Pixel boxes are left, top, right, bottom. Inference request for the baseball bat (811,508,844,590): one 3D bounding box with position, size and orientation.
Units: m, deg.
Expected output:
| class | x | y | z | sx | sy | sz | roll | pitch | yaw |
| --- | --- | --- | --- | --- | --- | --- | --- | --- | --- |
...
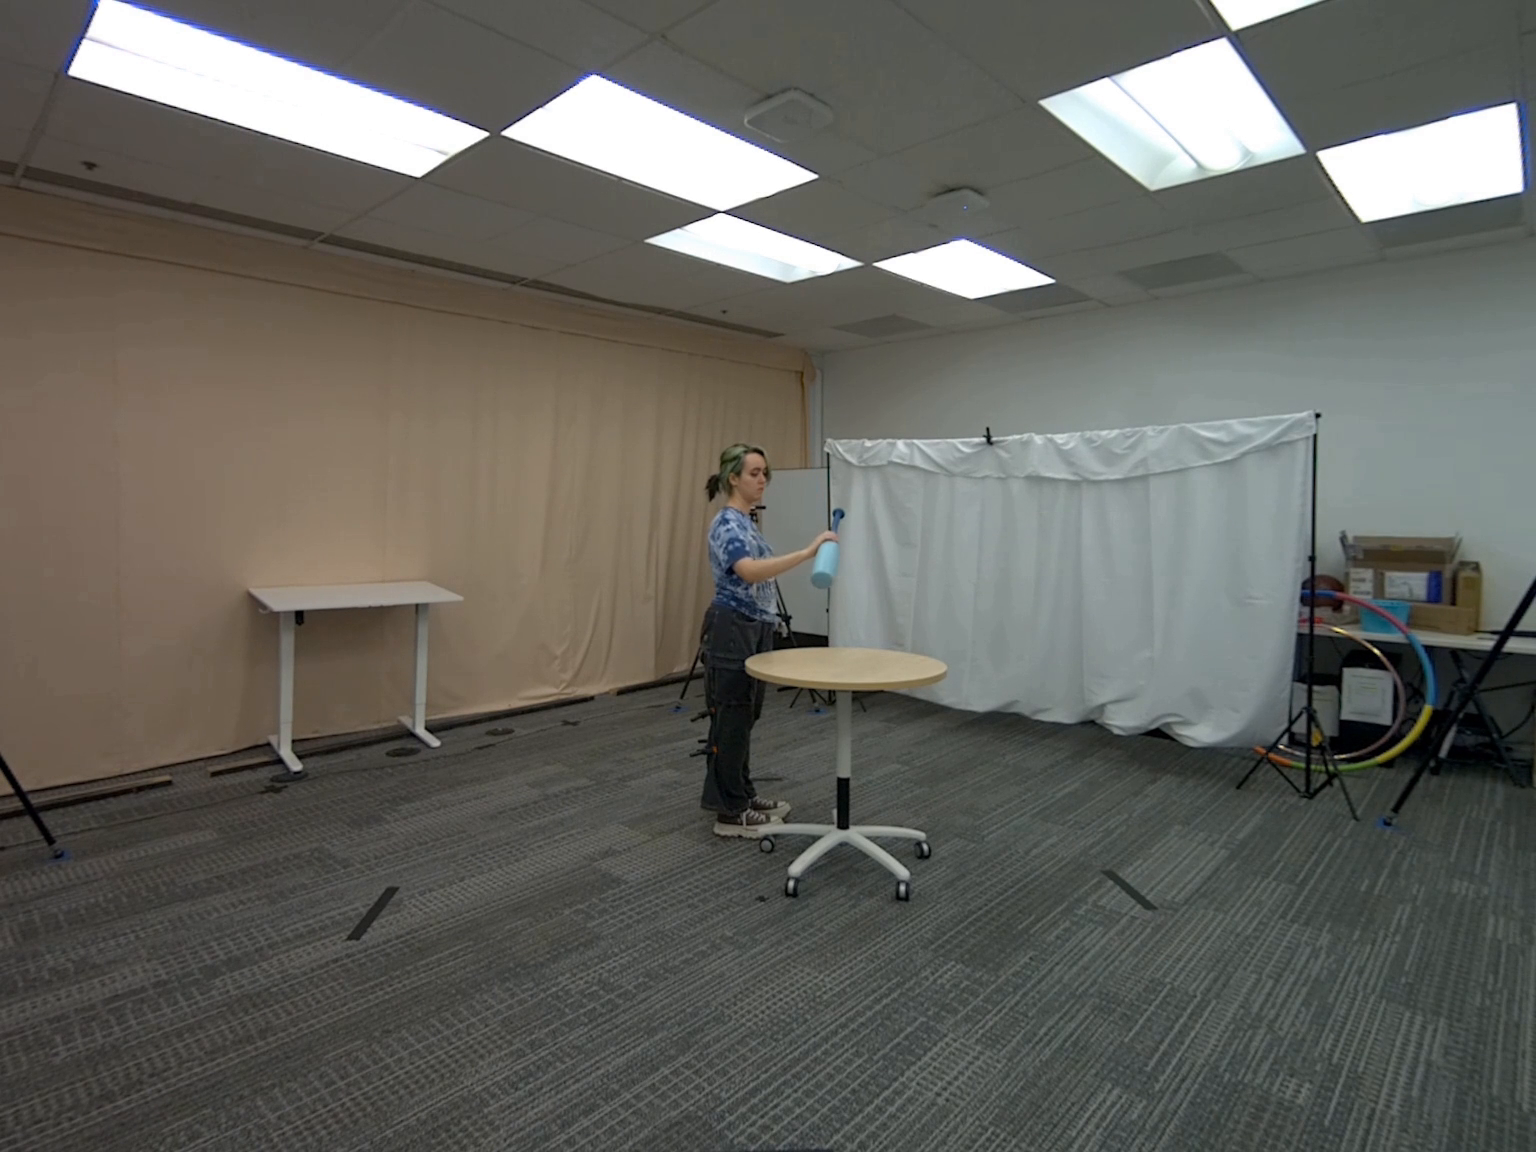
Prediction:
| class | x | y | z | sx | sy | sz | roll | pitch | yaw |
| --- | --- | --- | --- | --- | --- | --- | --- | --- | --- |
| baseball bat | 0.258 | -0.124 | 3.299 | 0.090 | 0.087 | 0.545 | 0 | 31 | 12 |
